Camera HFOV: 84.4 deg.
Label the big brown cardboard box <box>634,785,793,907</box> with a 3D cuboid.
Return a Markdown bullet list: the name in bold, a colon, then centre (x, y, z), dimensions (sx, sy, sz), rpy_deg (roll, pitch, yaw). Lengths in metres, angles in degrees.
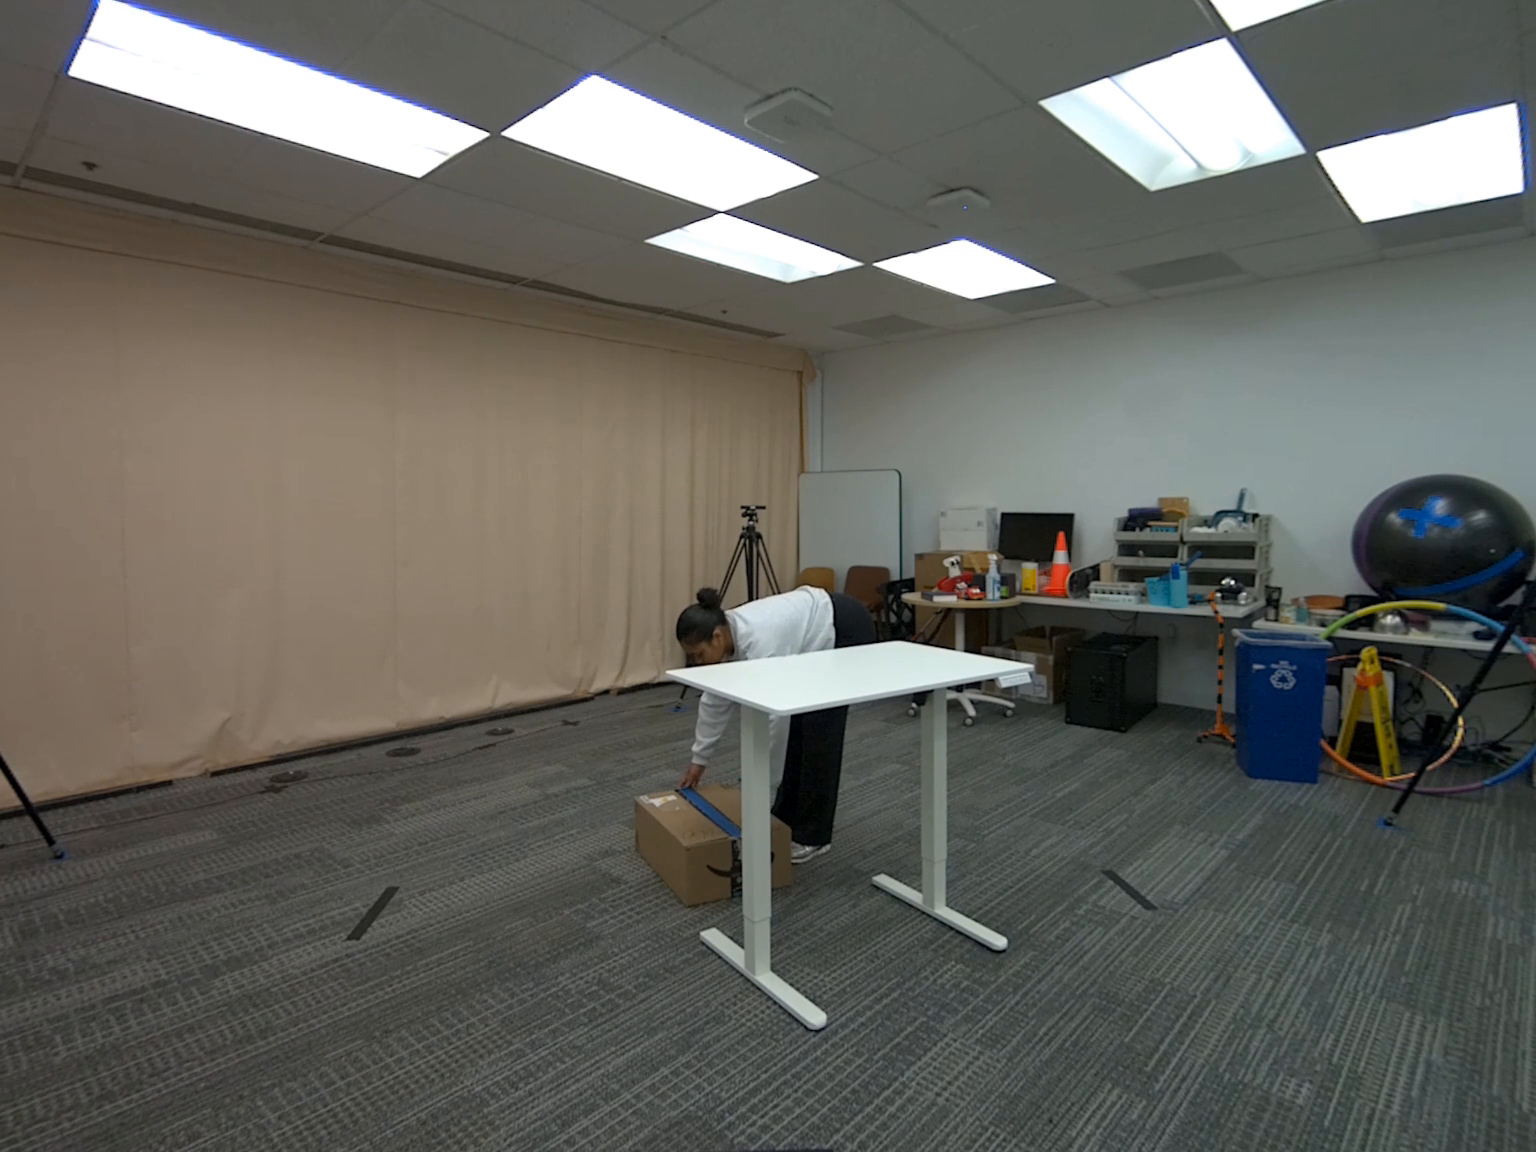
- **big brown cardboard box**: centre (-0.230, 1.011, 3.251), dimensions (0.407, 0.232, 0.605), rpy_deg (-3, 6, -26)
